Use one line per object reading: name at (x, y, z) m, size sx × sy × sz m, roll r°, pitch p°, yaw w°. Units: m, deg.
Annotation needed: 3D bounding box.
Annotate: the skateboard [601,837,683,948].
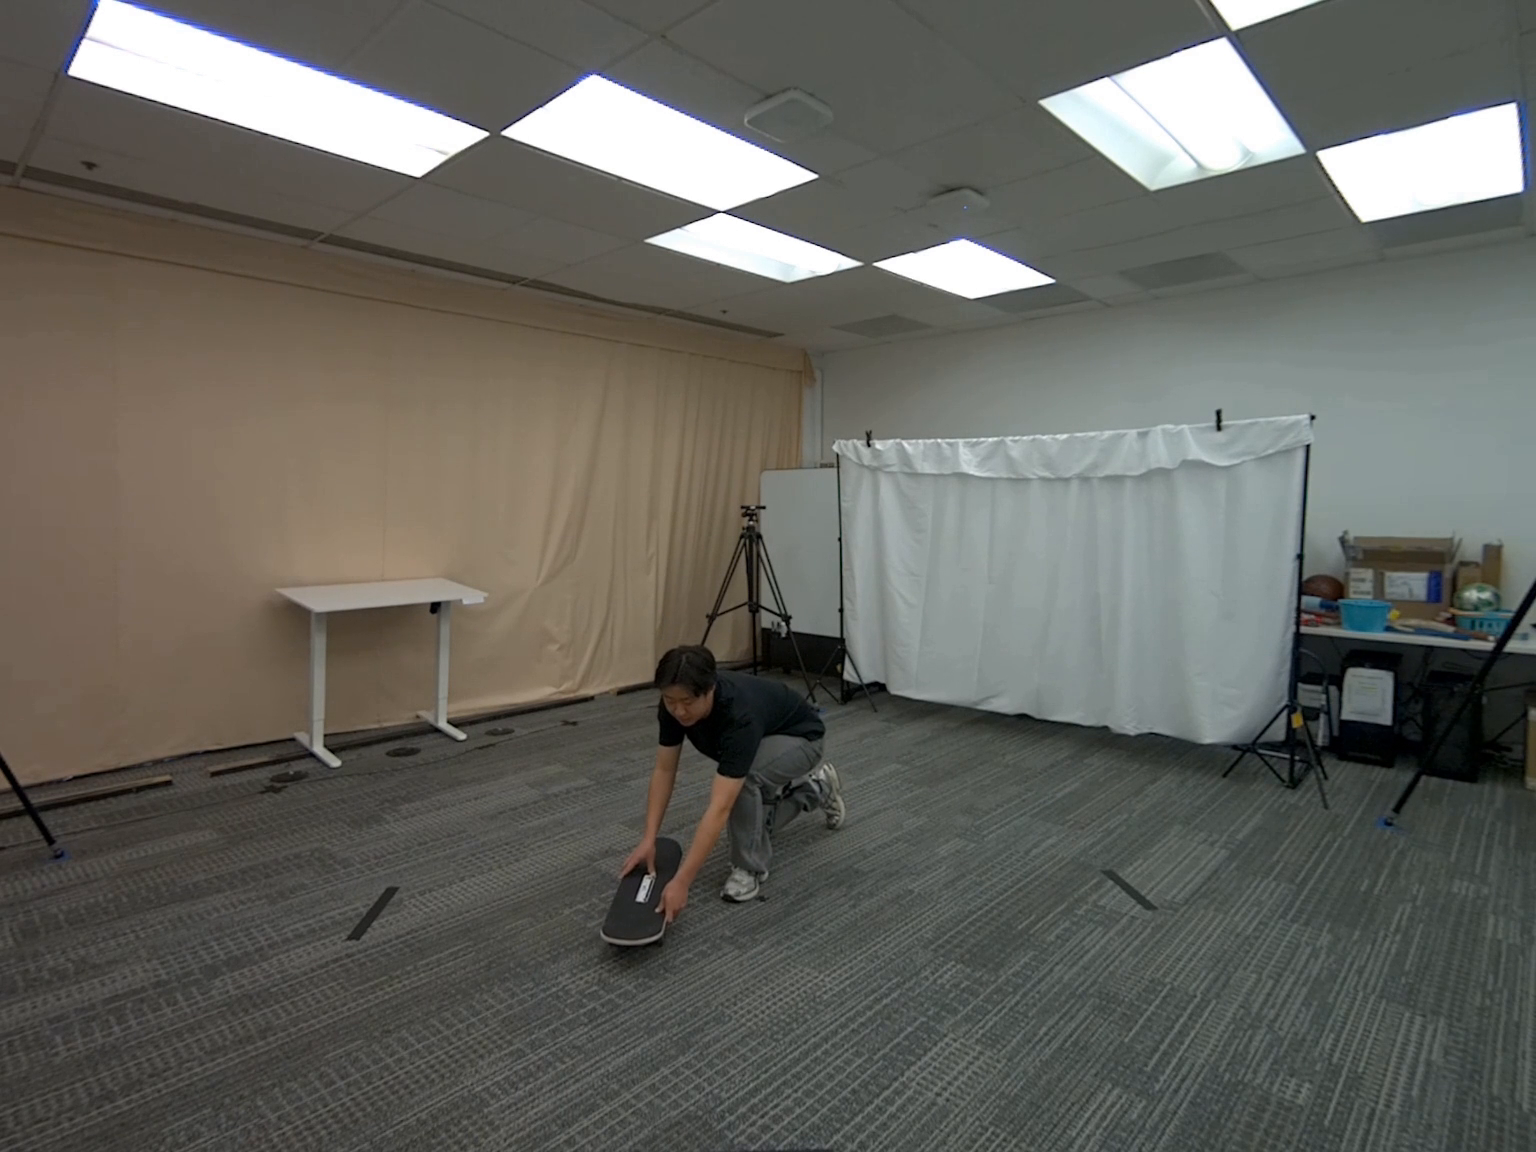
skateboard at (-0.409, 1.095, 2.879) m, size 0.194 × 0.110 × 0.785 m, roll 0°, pitch 4°, yaw 0°
